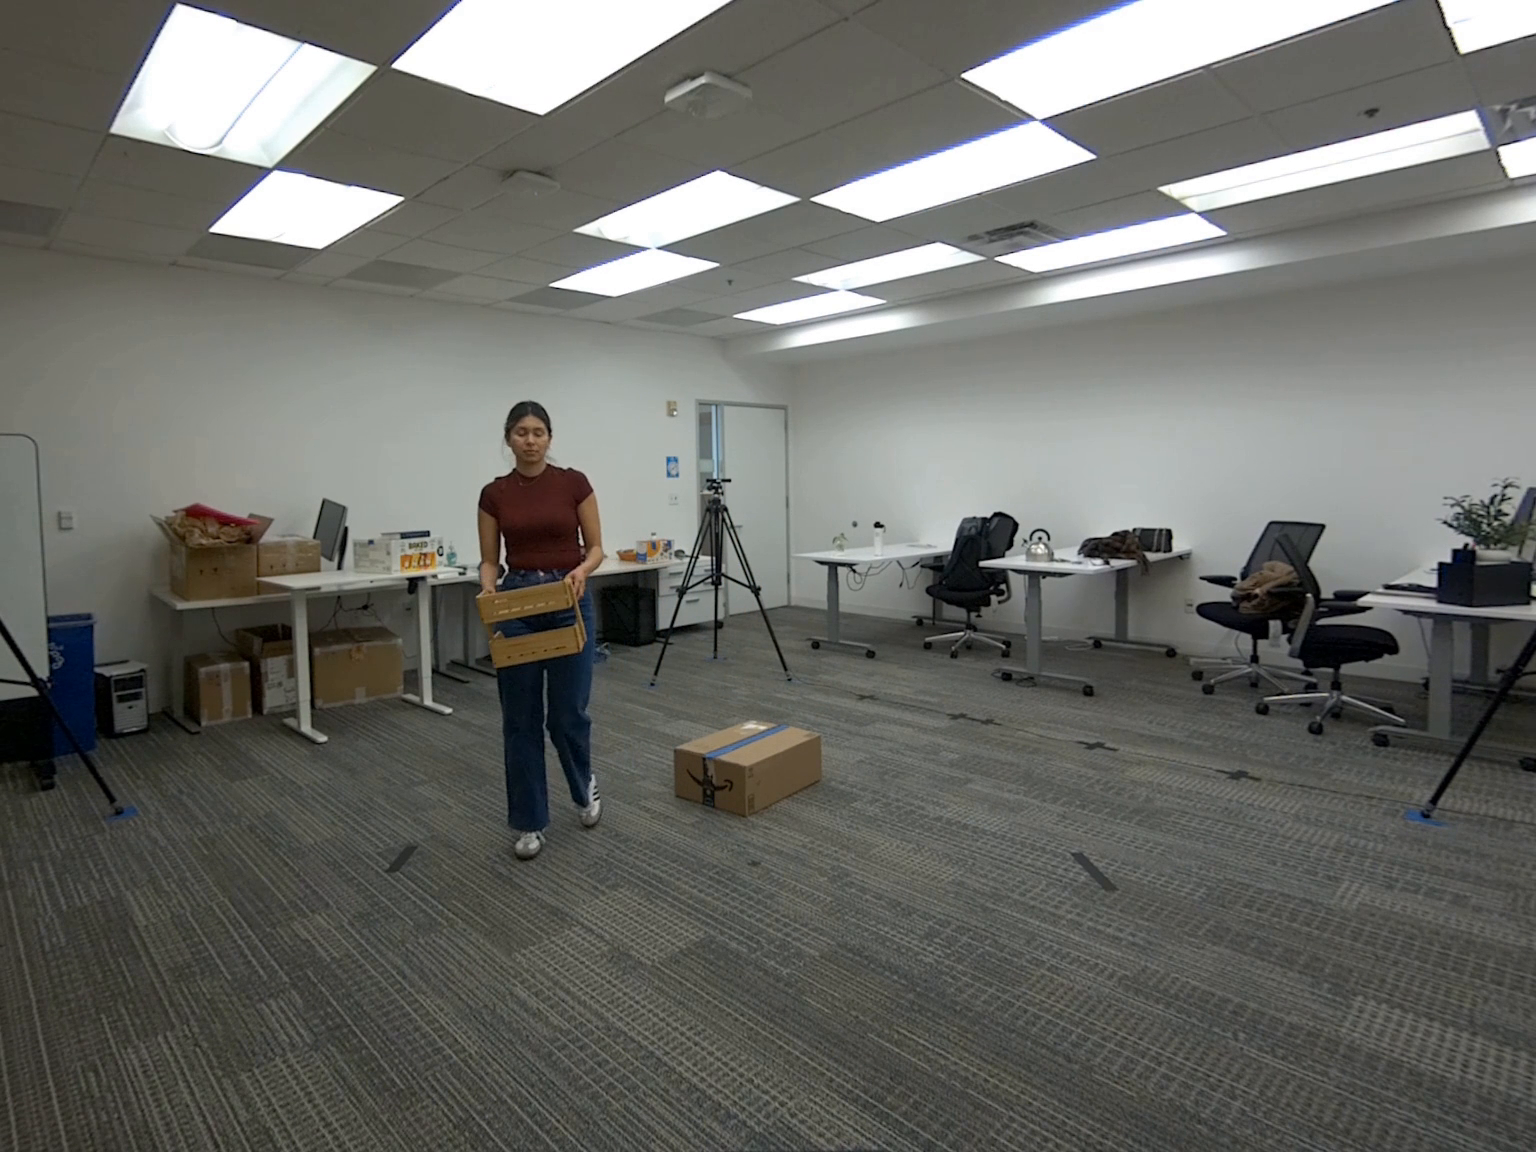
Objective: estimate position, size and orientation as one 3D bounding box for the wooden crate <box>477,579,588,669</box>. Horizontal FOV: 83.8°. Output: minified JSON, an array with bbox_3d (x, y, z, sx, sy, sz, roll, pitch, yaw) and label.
[{"bbox_3d":[-0.832,0.146,3.037,0.324,0.271,0.305,-10,7,-3],"label":"wooden crate"}]
